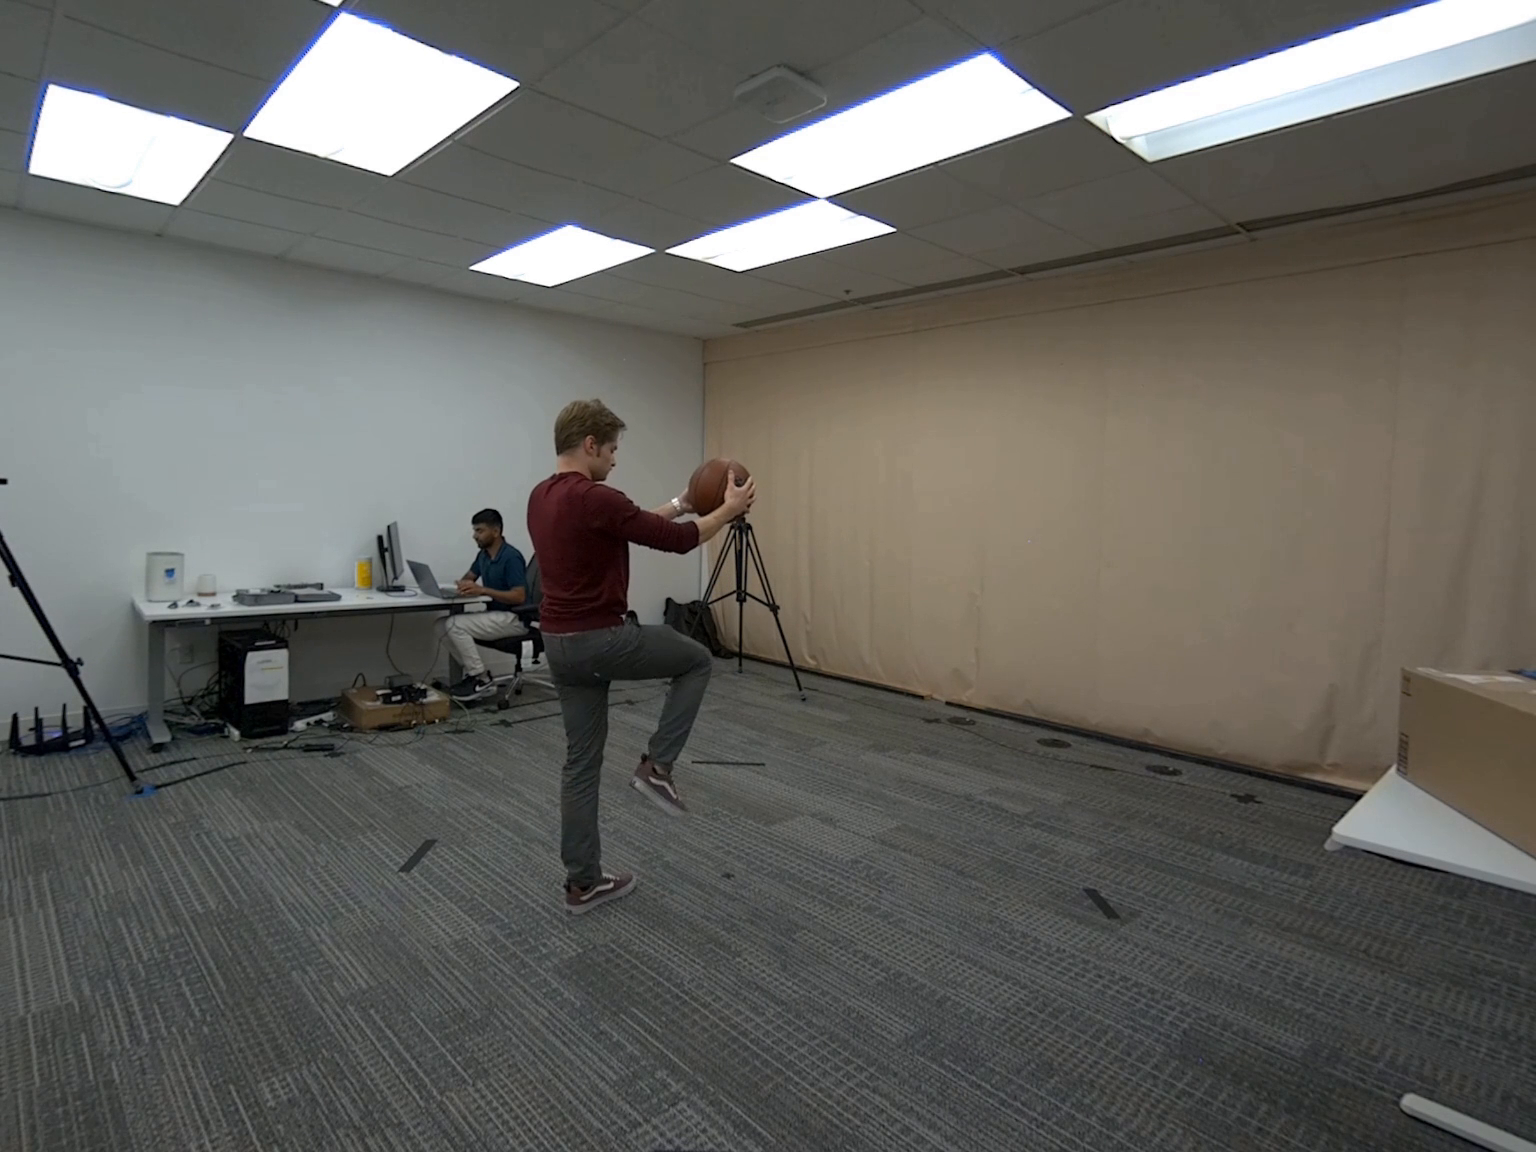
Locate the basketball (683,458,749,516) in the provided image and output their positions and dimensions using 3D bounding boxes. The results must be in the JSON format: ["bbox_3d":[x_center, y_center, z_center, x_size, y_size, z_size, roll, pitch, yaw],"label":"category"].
[{"bbox_3d":[-0.175,-0.310,3.035,0.236,0.235,0.237,1,4,-1],"label":"basketball"}]
